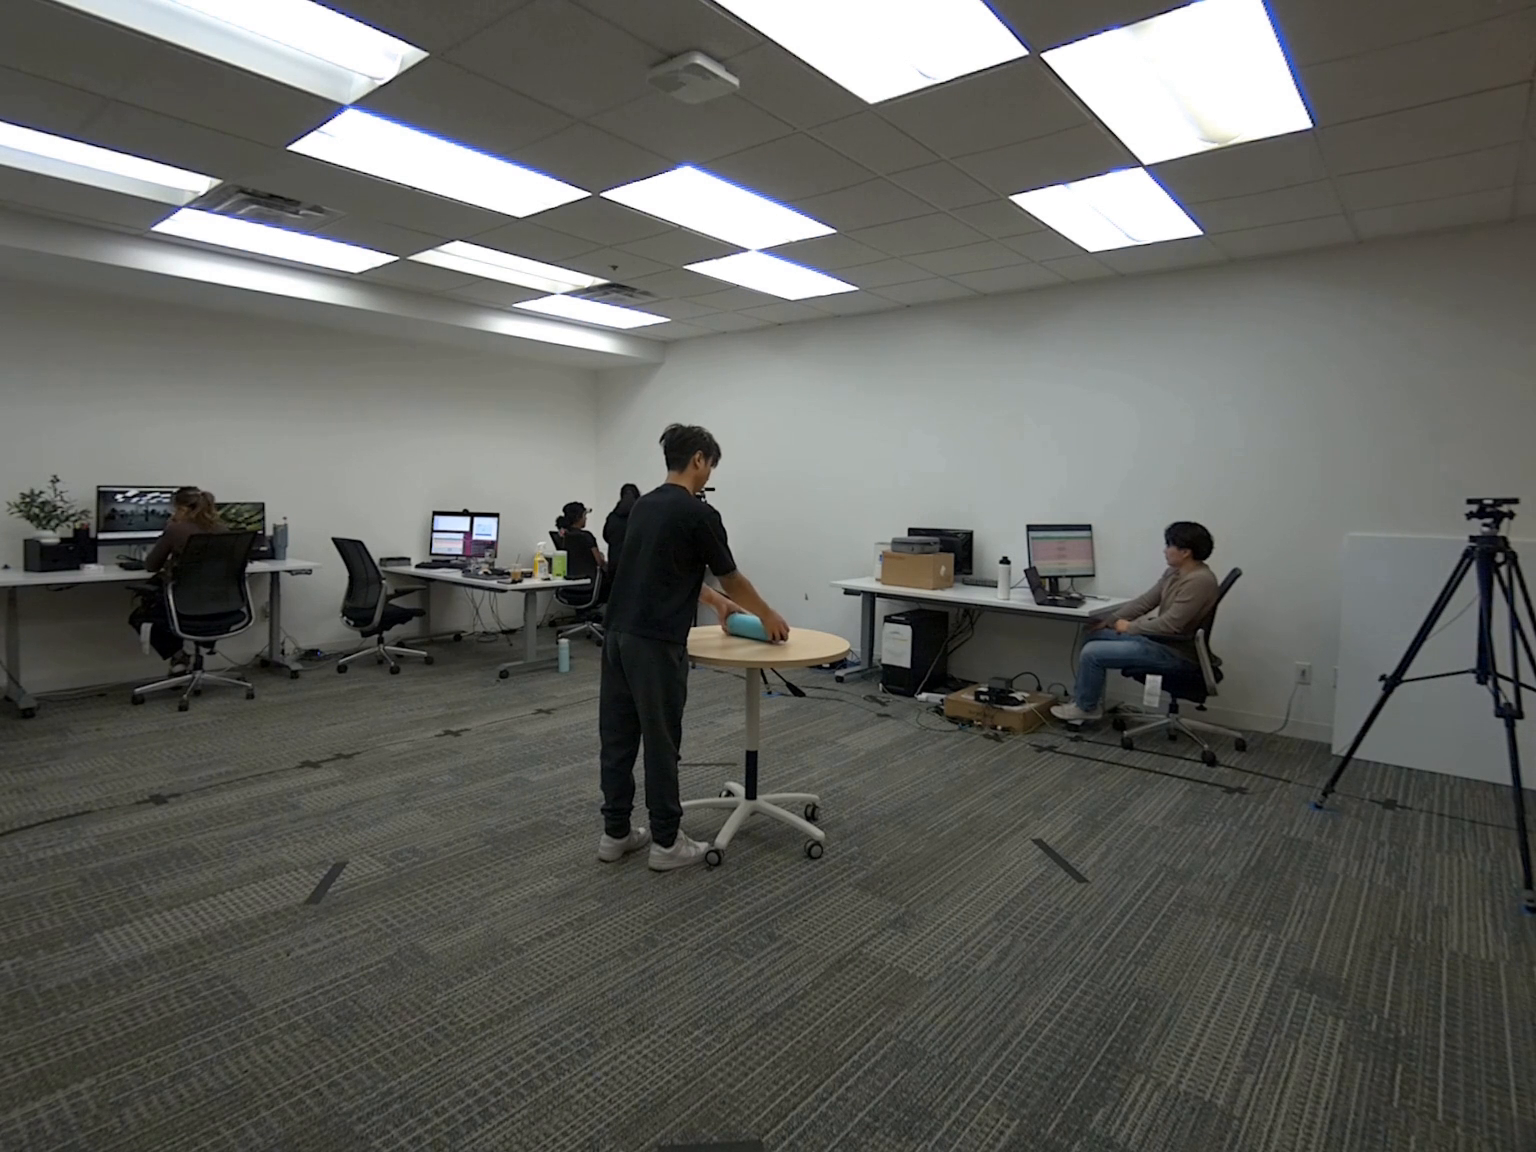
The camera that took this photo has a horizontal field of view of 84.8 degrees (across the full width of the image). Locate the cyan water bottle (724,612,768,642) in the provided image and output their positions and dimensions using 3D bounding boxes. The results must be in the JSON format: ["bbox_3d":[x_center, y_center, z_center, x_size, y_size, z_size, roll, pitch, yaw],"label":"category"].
[{"bbox_3d":[-0.055,0.208,3.449,0.293,0.092,0.089,5,6,42],"label":"cyan water bottle"}]
